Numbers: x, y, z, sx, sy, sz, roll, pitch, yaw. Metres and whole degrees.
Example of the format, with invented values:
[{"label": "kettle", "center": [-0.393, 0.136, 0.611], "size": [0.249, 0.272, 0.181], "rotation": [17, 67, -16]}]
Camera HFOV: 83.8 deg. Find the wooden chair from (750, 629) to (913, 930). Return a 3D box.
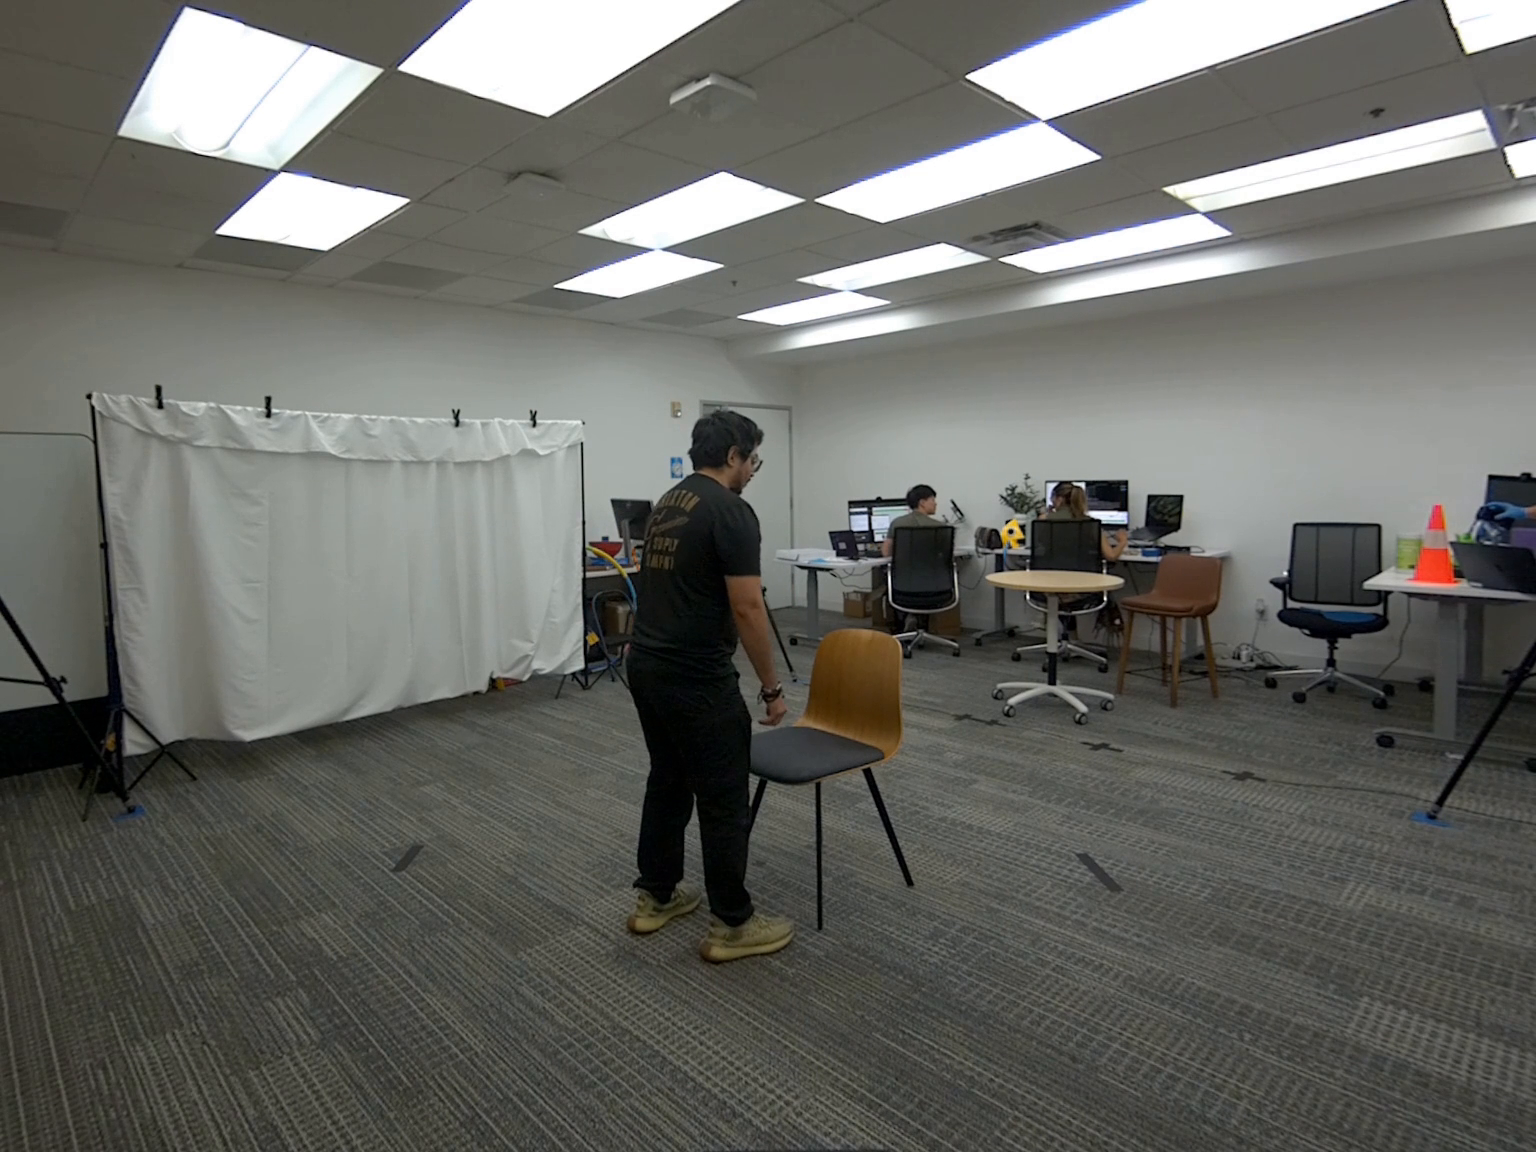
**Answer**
[{"label": "wooden chair", "center": [0.171, 0.638, 2.920], "size": [0.508, 0.876, 0.493], "rotation": [1, 2, -40]}]
